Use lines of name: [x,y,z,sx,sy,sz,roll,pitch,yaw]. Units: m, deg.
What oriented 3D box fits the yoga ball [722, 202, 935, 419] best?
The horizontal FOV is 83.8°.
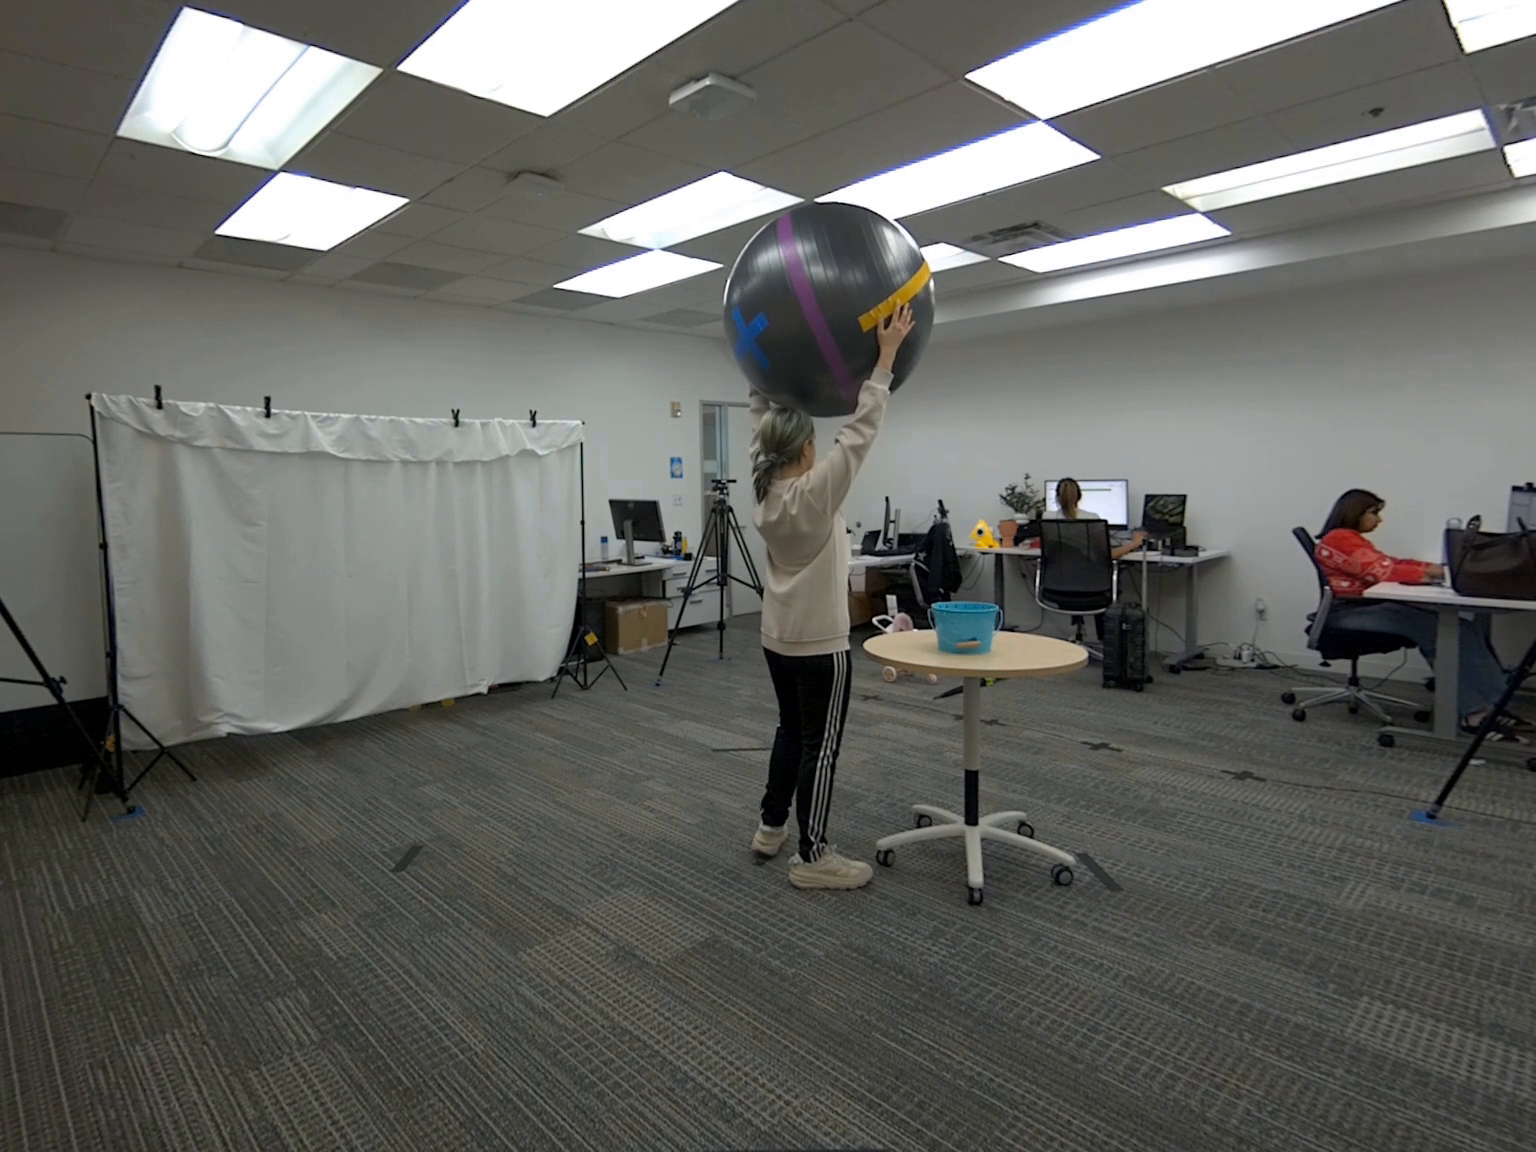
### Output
yoga ball: [0.218,-0.955,3.099,0.757,0.755,0.762,-1,5,-2]
